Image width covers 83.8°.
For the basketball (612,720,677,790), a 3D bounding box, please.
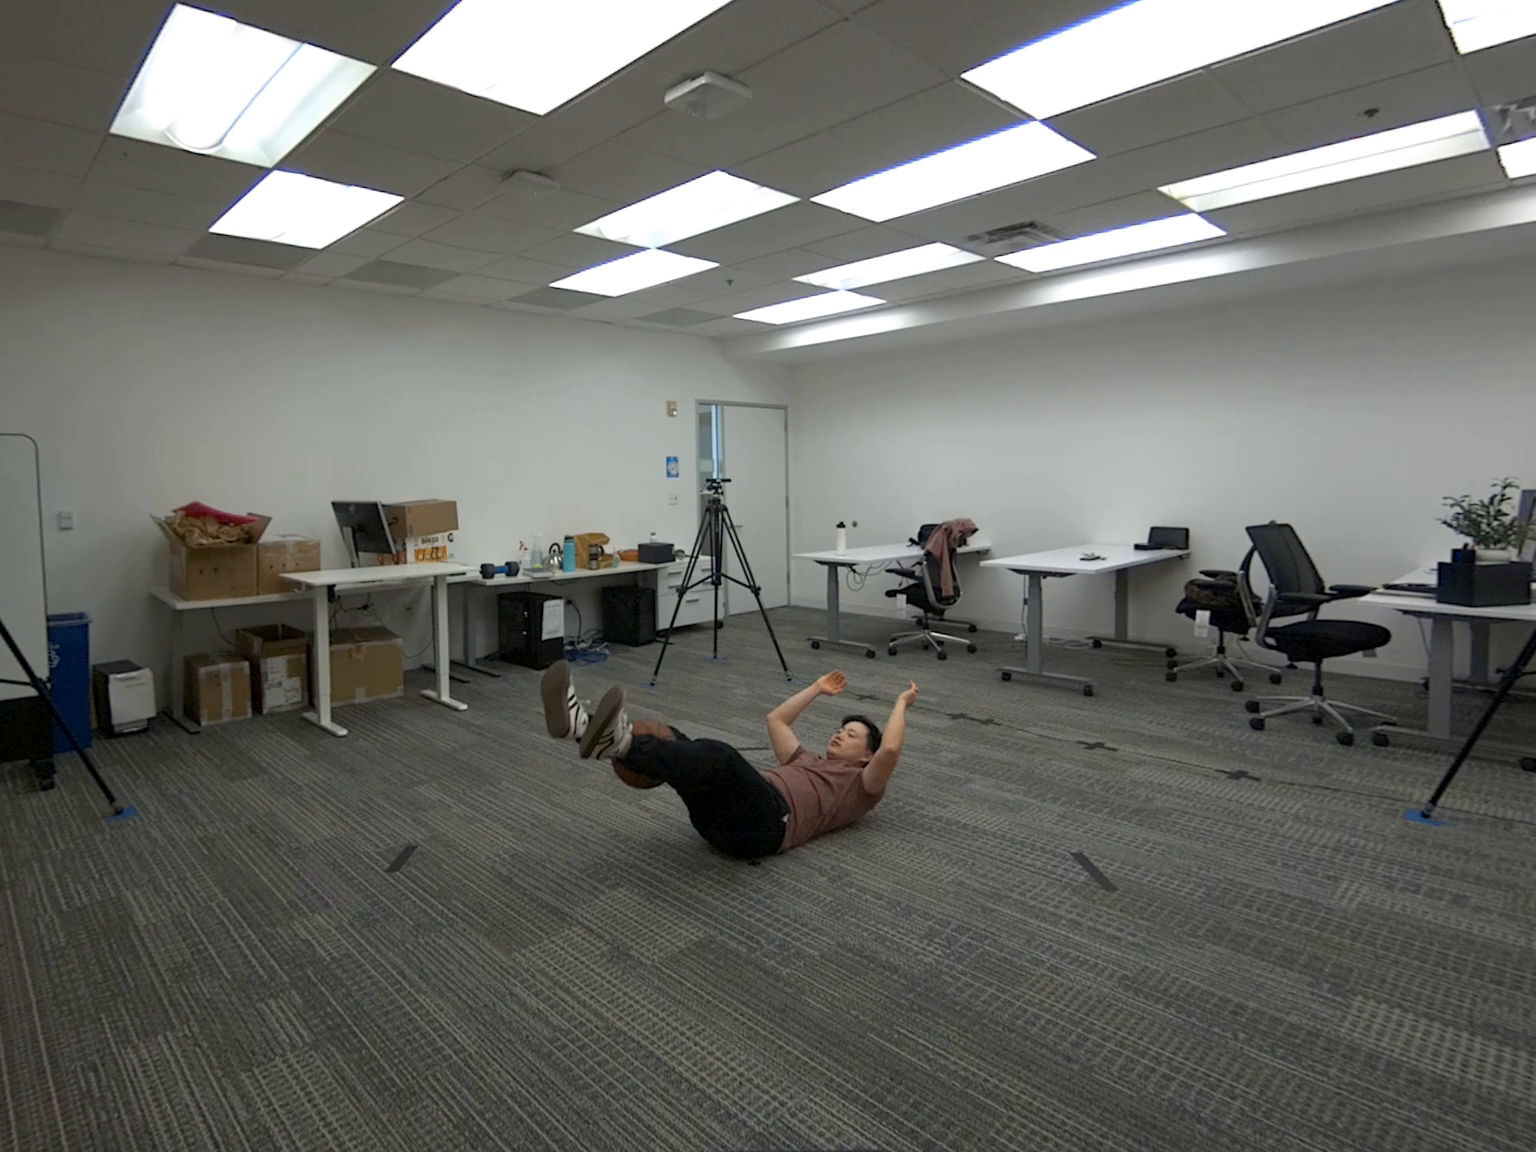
[{"bbox_3d":[-0.423,0.619,2.957,0.236,0.235,0.237,-2,5,-2],"label":"basketball"}]
